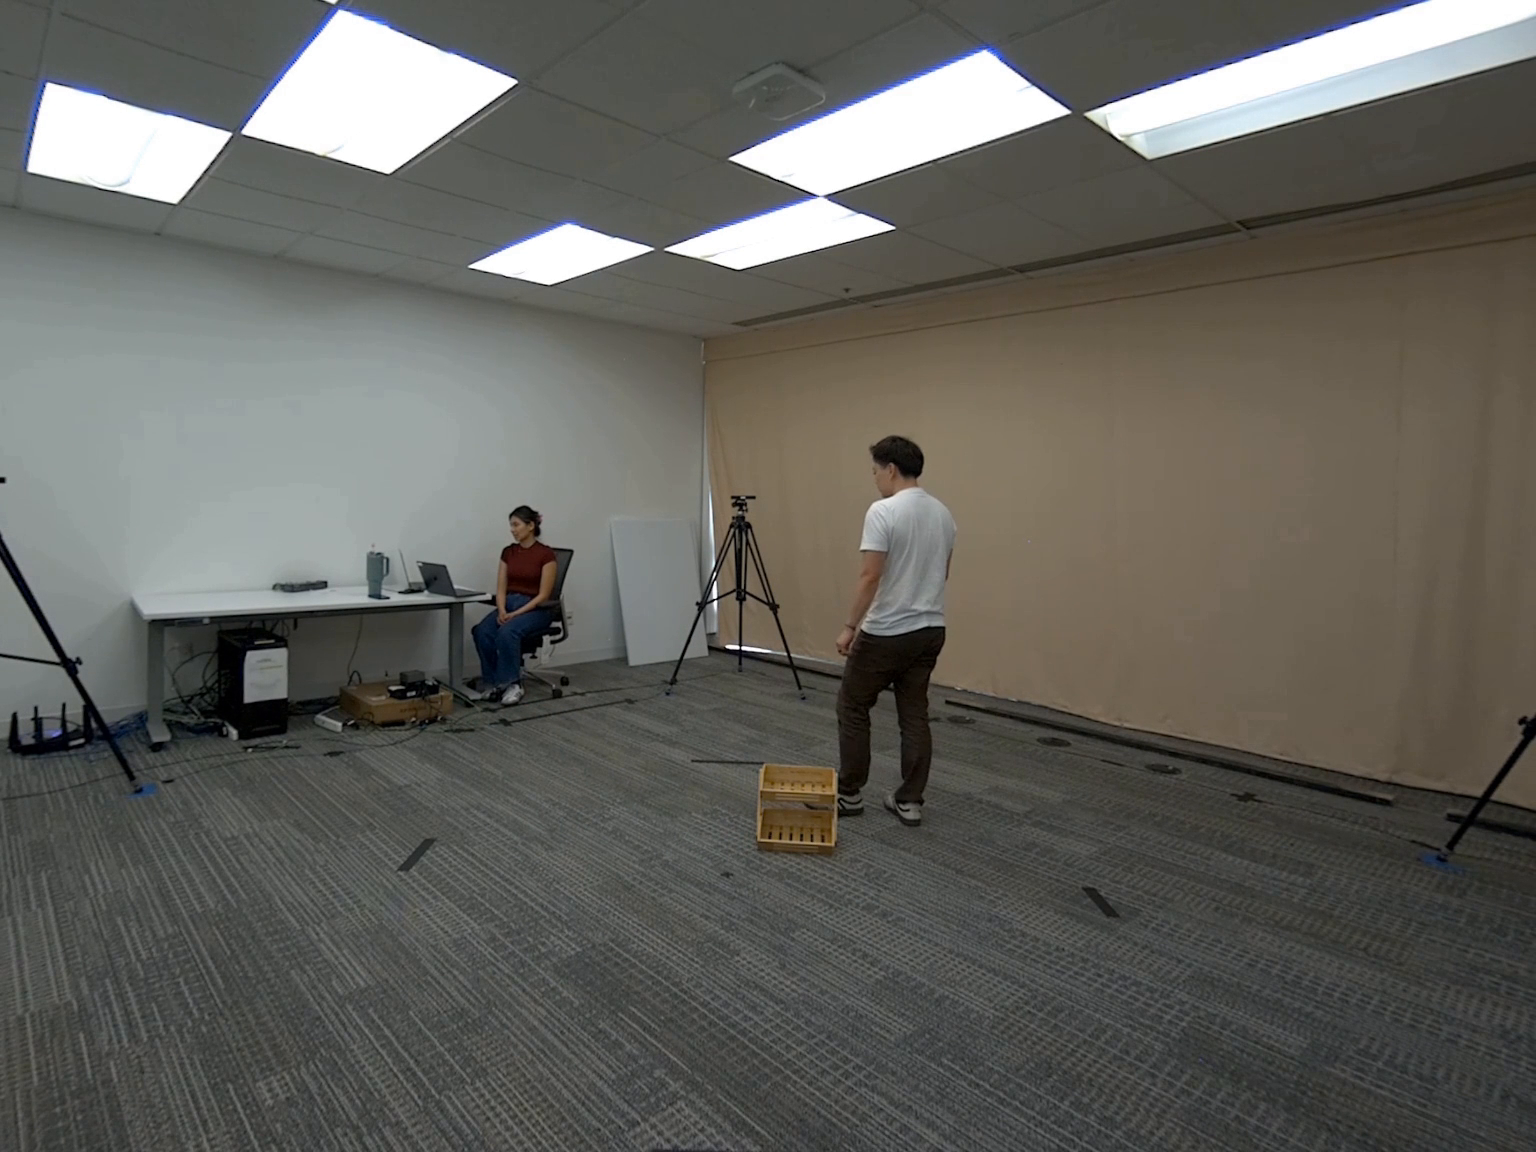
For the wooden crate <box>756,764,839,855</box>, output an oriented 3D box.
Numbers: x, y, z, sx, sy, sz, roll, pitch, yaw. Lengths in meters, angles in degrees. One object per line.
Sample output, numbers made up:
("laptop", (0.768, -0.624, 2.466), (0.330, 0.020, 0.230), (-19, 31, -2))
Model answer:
("wooden crate", (0.114, 0.944, 3.428), (0.326, 0.273, 0.301), (2, 3, 4))
